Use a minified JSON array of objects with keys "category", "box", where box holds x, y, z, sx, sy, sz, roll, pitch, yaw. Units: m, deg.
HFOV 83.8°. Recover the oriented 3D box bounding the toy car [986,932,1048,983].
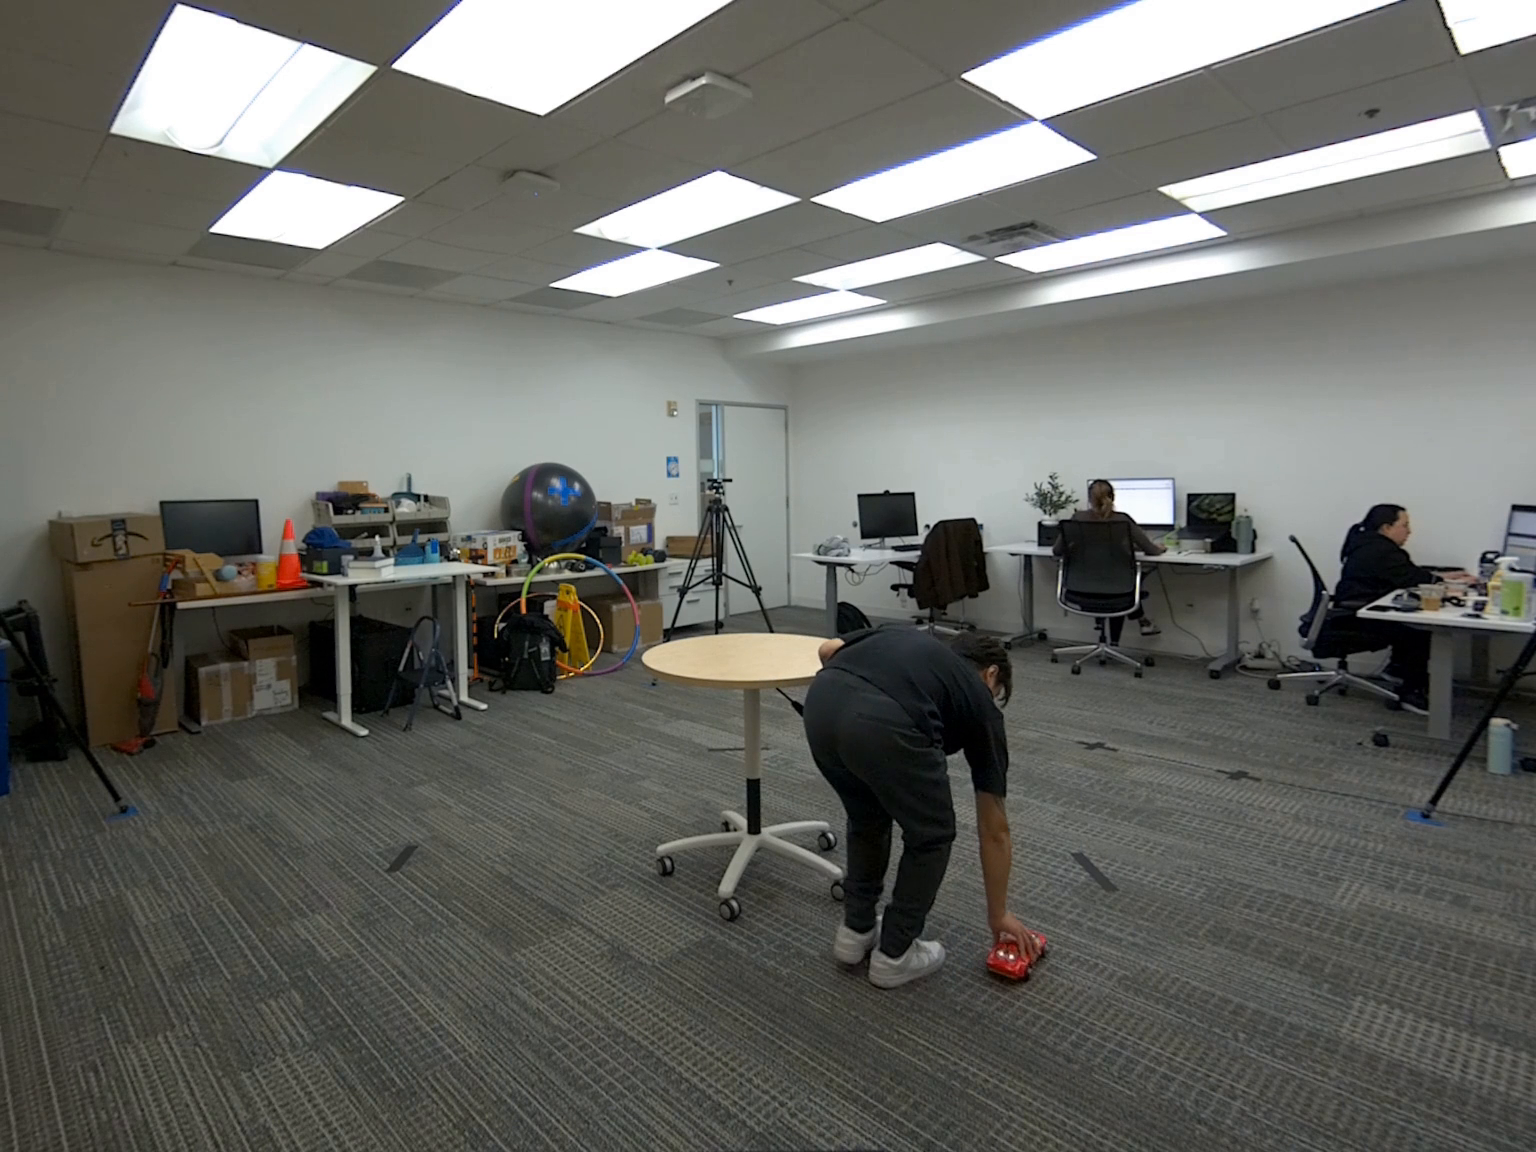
[{"category":"toy car","box":[0.711,1.080,2.429,0.134,0.083,0.247,4,-2,34]}]
